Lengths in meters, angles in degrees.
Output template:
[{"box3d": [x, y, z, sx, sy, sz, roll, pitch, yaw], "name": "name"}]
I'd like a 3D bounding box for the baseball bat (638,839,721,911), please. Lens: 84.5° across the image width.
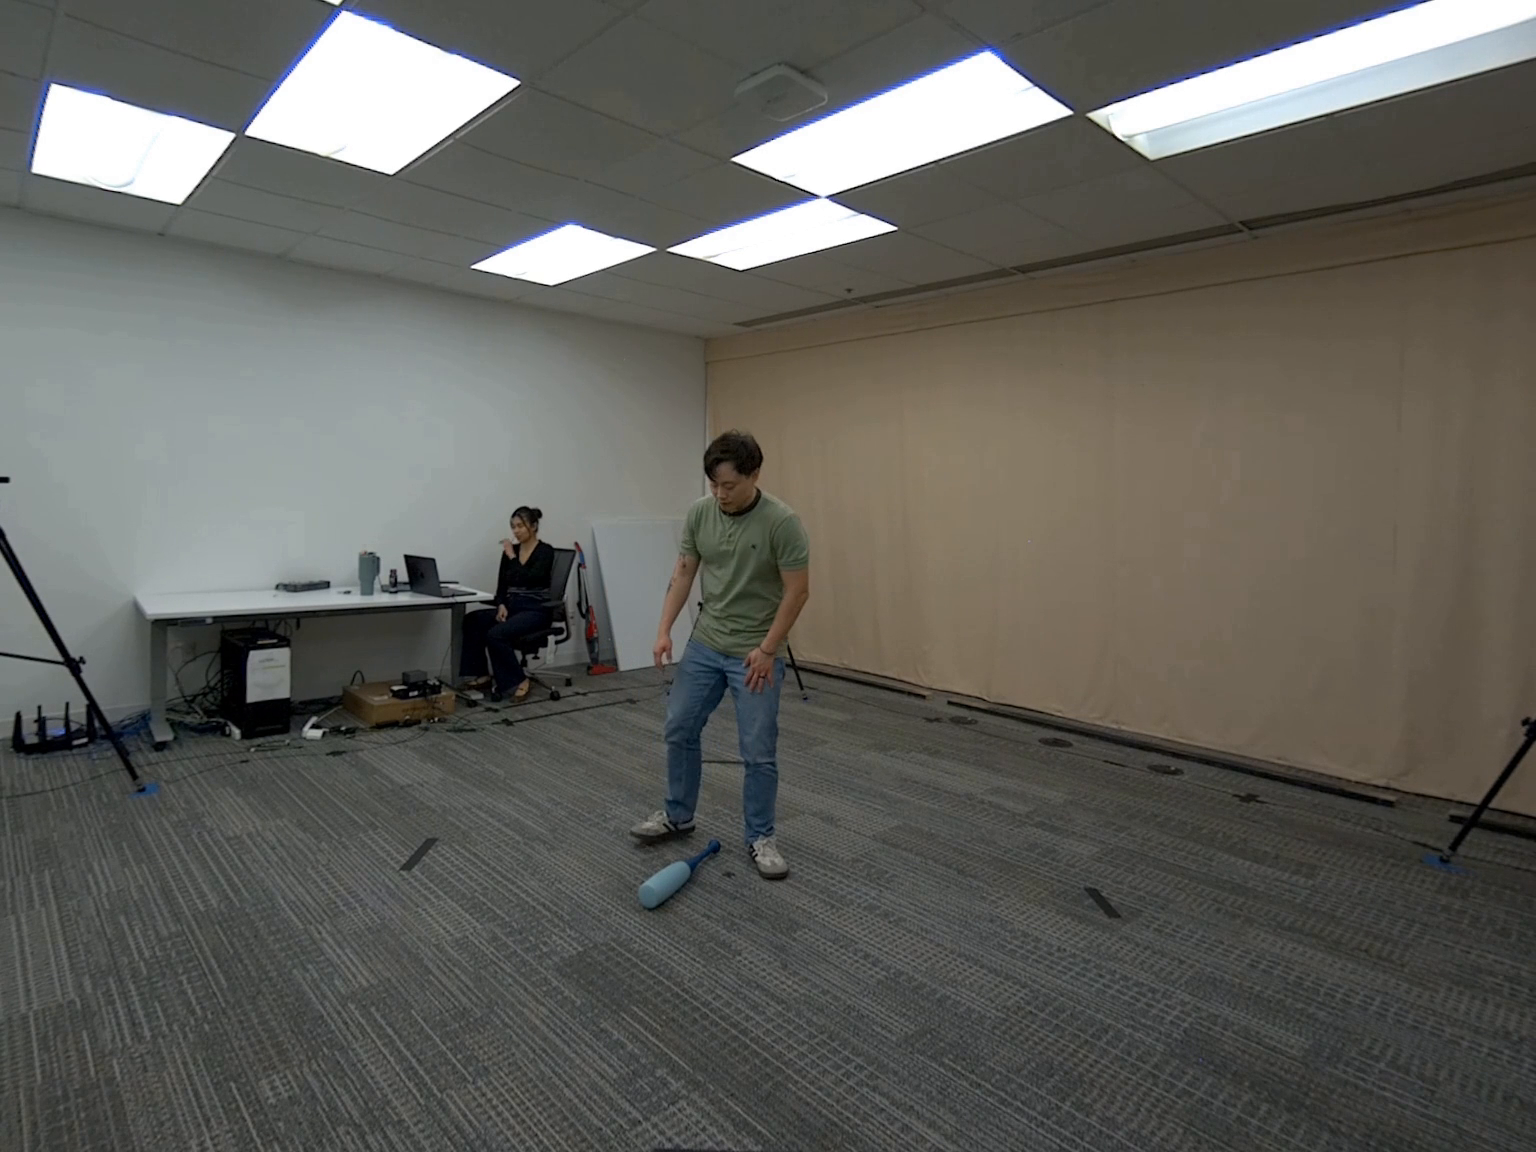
[{"box3d": [-0.315, 1.064, 3.055, 0.090, 0.089, 0.534, 3, 2, 21], "name": "baseball bat"}]
